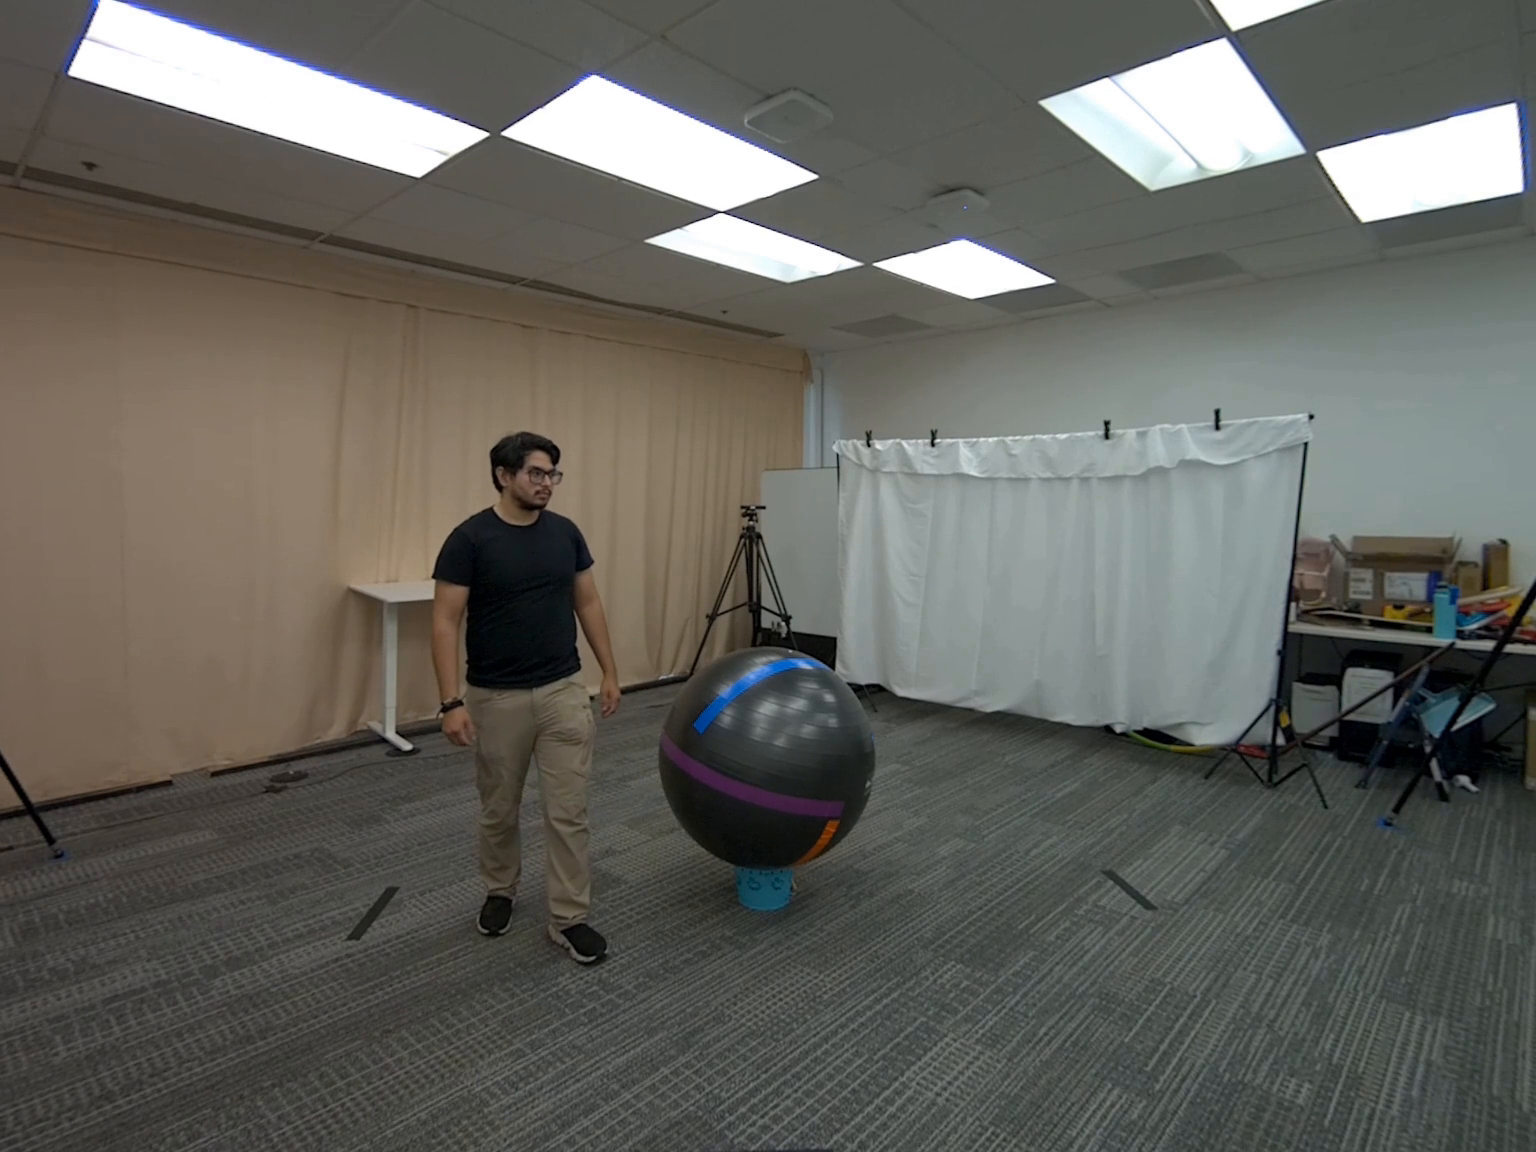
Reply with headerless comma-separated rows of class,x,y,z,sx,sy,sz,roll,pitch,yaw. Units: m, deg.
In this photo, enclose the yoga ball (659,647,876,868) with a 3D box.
yoga ball,0.002,0.634,2.964,0.757,0.756,0.760,0,4,-2
